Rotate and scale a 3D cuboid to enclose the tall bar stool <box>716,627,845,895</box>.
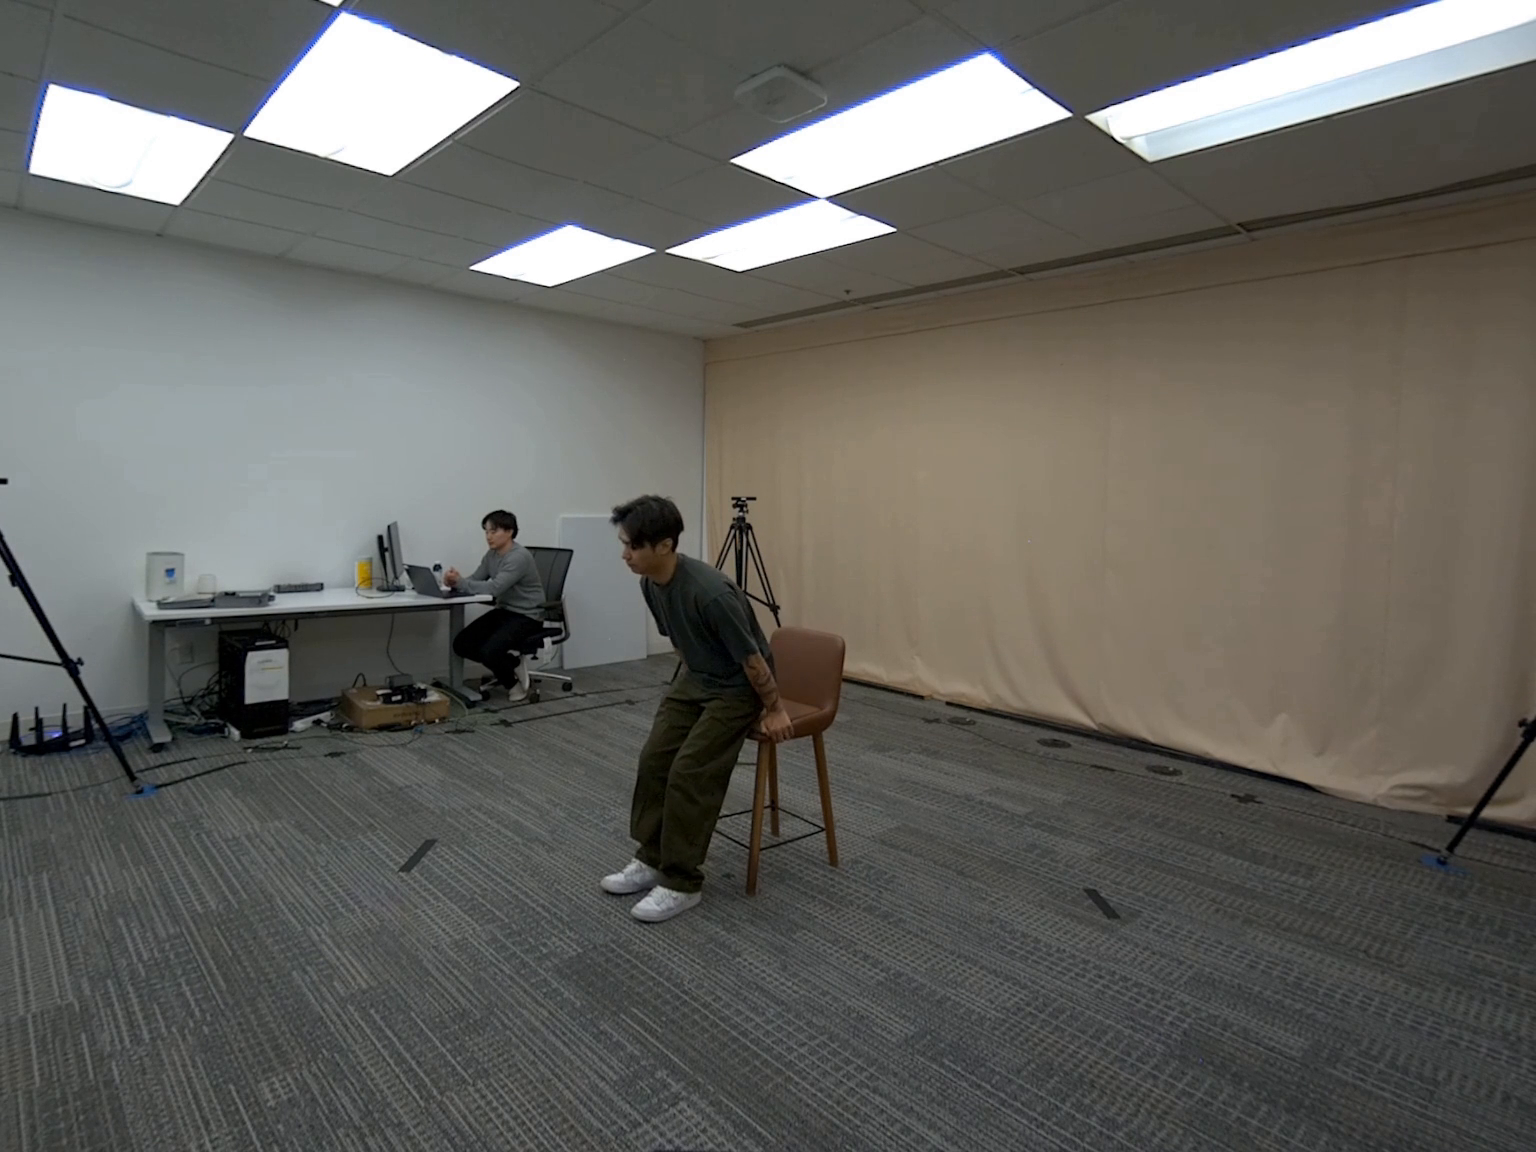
[{"bbox_3d":[-0.013,0.661,3.214,0.457,0.888,0.468,0,3,-39],"label":"tall bar stool"}]
